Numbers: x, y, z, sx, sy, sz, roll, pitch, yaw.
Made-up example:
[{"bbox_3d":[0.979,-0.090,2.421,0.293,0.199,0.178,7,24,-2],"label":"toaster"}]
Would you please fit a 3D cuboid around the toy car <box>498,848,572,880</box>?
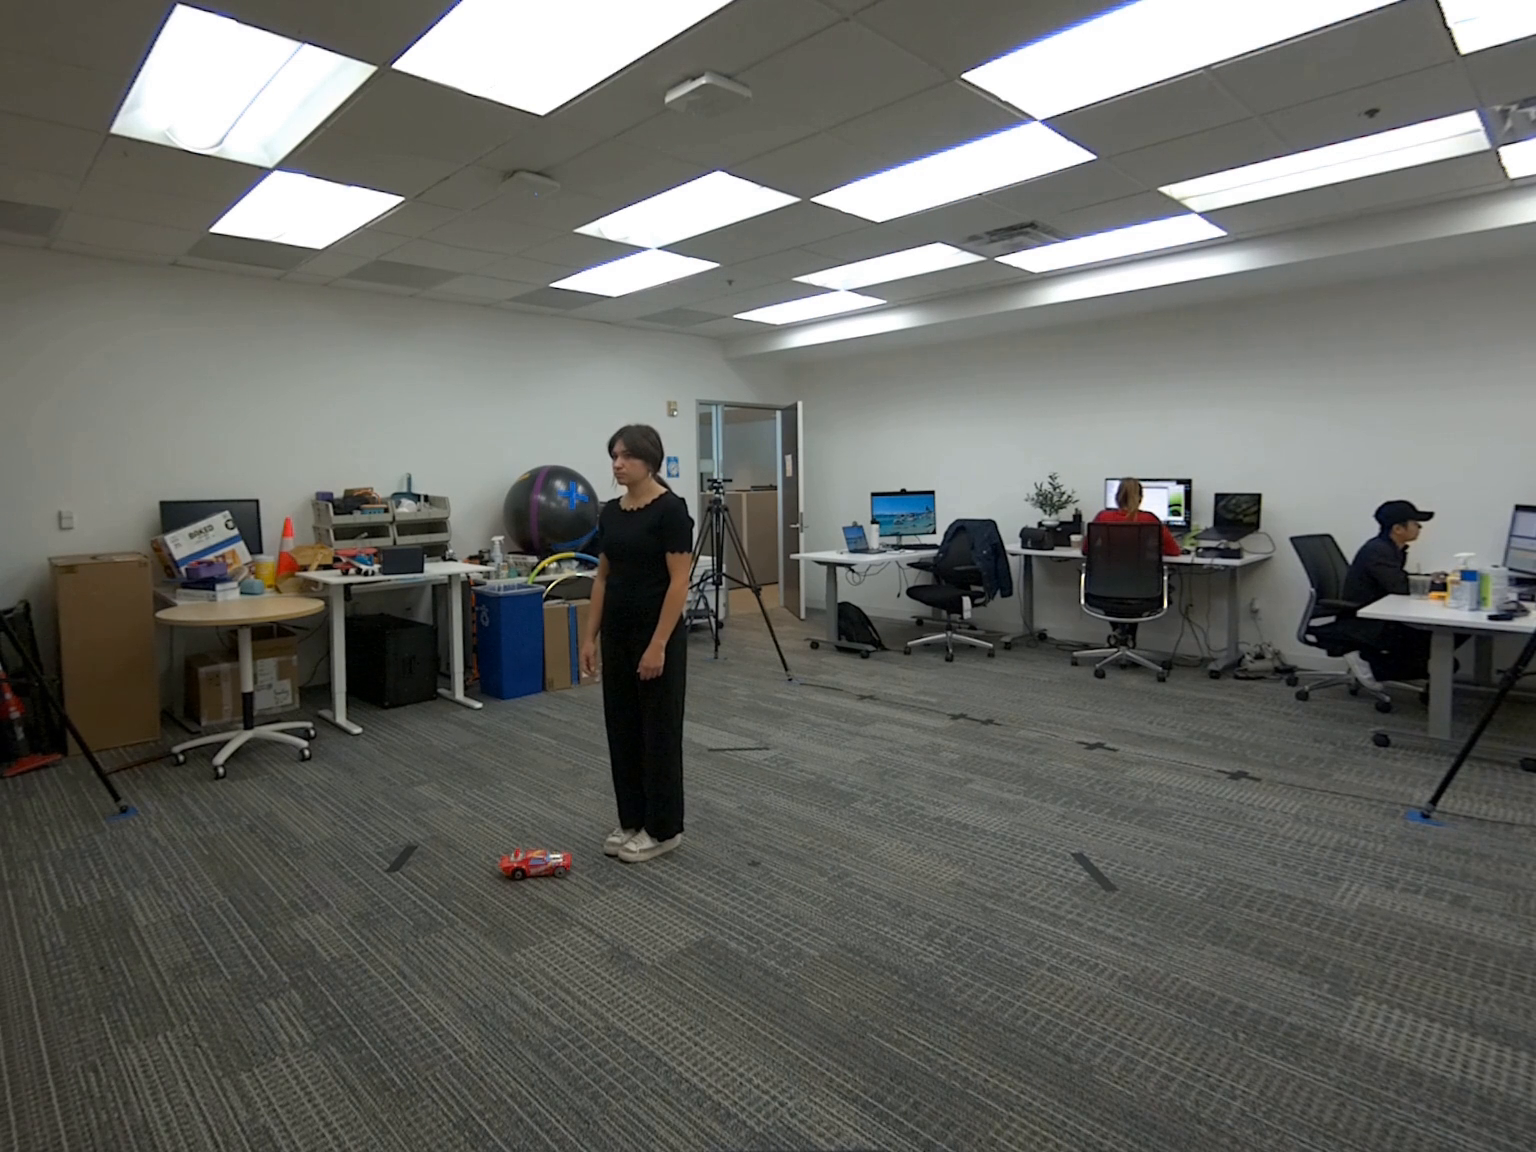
[{"bbox_3d":[-0.840,1.035,3.061,0.253,0.083,0.131,9,4,-6],"label":"toy car"}]
